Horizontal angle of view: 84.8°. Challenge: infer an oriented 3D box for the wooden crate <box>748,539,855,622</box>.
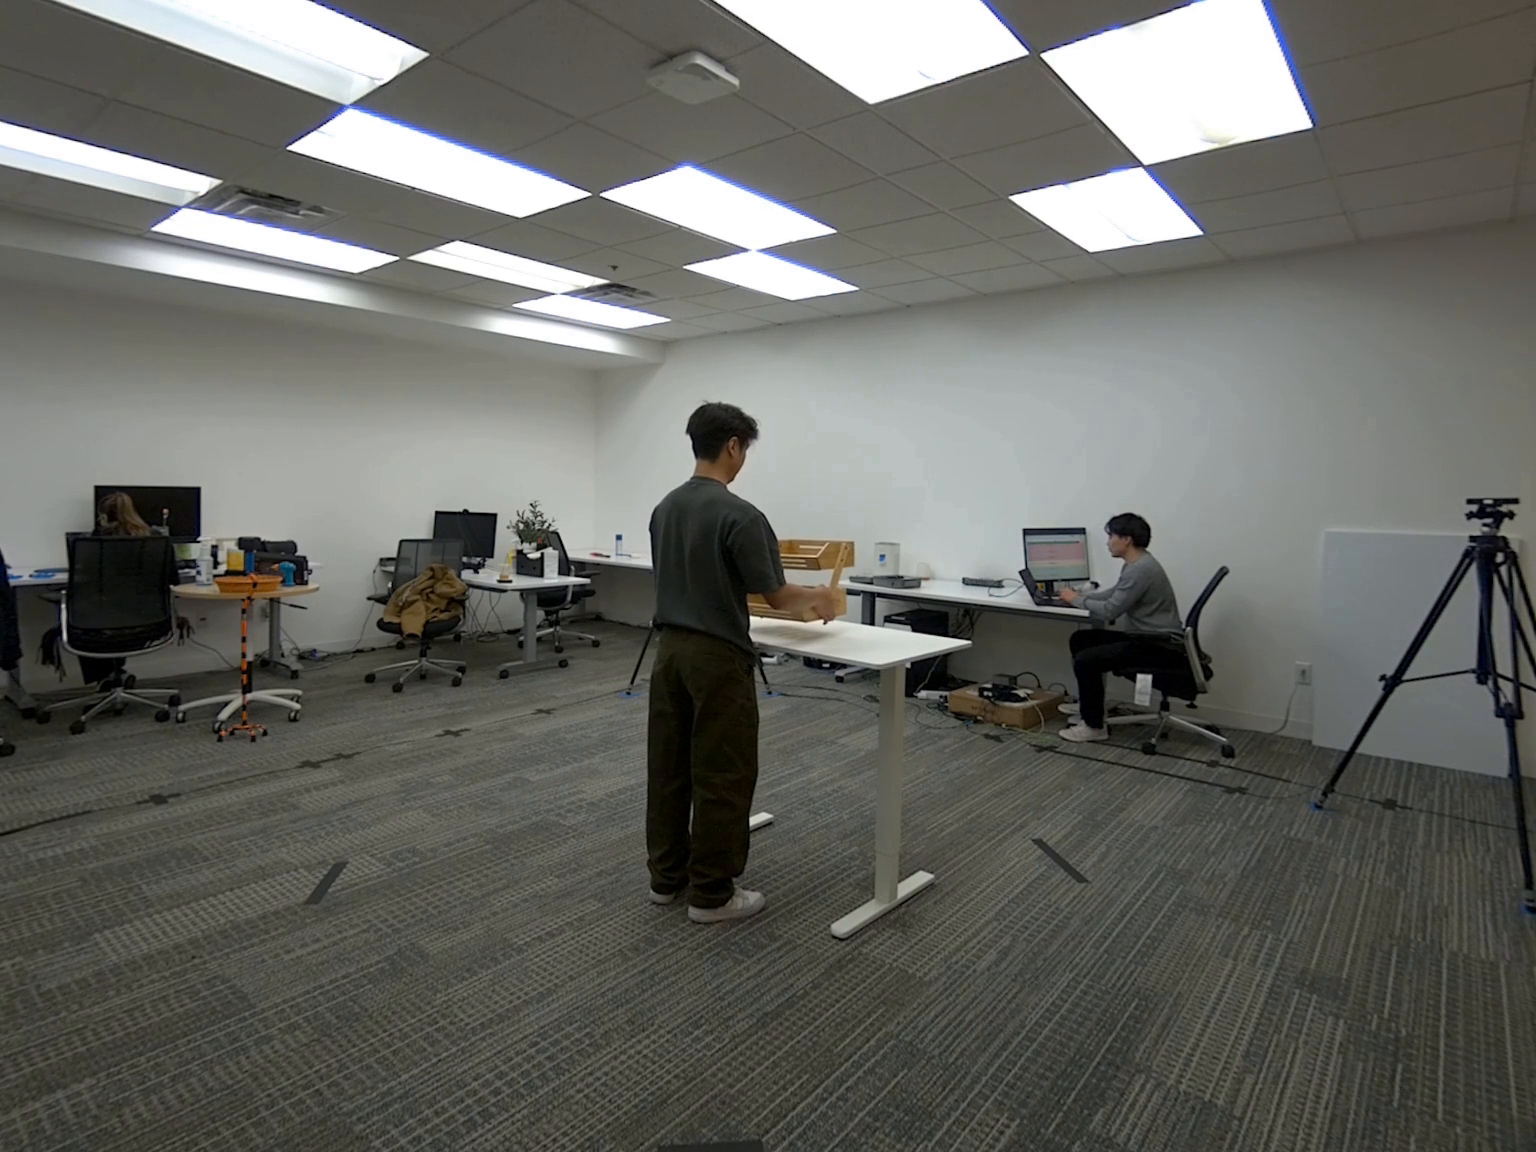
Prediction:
[{"bbox_3d":[0.091,0.006,3.054,0.335,0.272,0.293,4,7,43],"label":"wooden crate"}]
